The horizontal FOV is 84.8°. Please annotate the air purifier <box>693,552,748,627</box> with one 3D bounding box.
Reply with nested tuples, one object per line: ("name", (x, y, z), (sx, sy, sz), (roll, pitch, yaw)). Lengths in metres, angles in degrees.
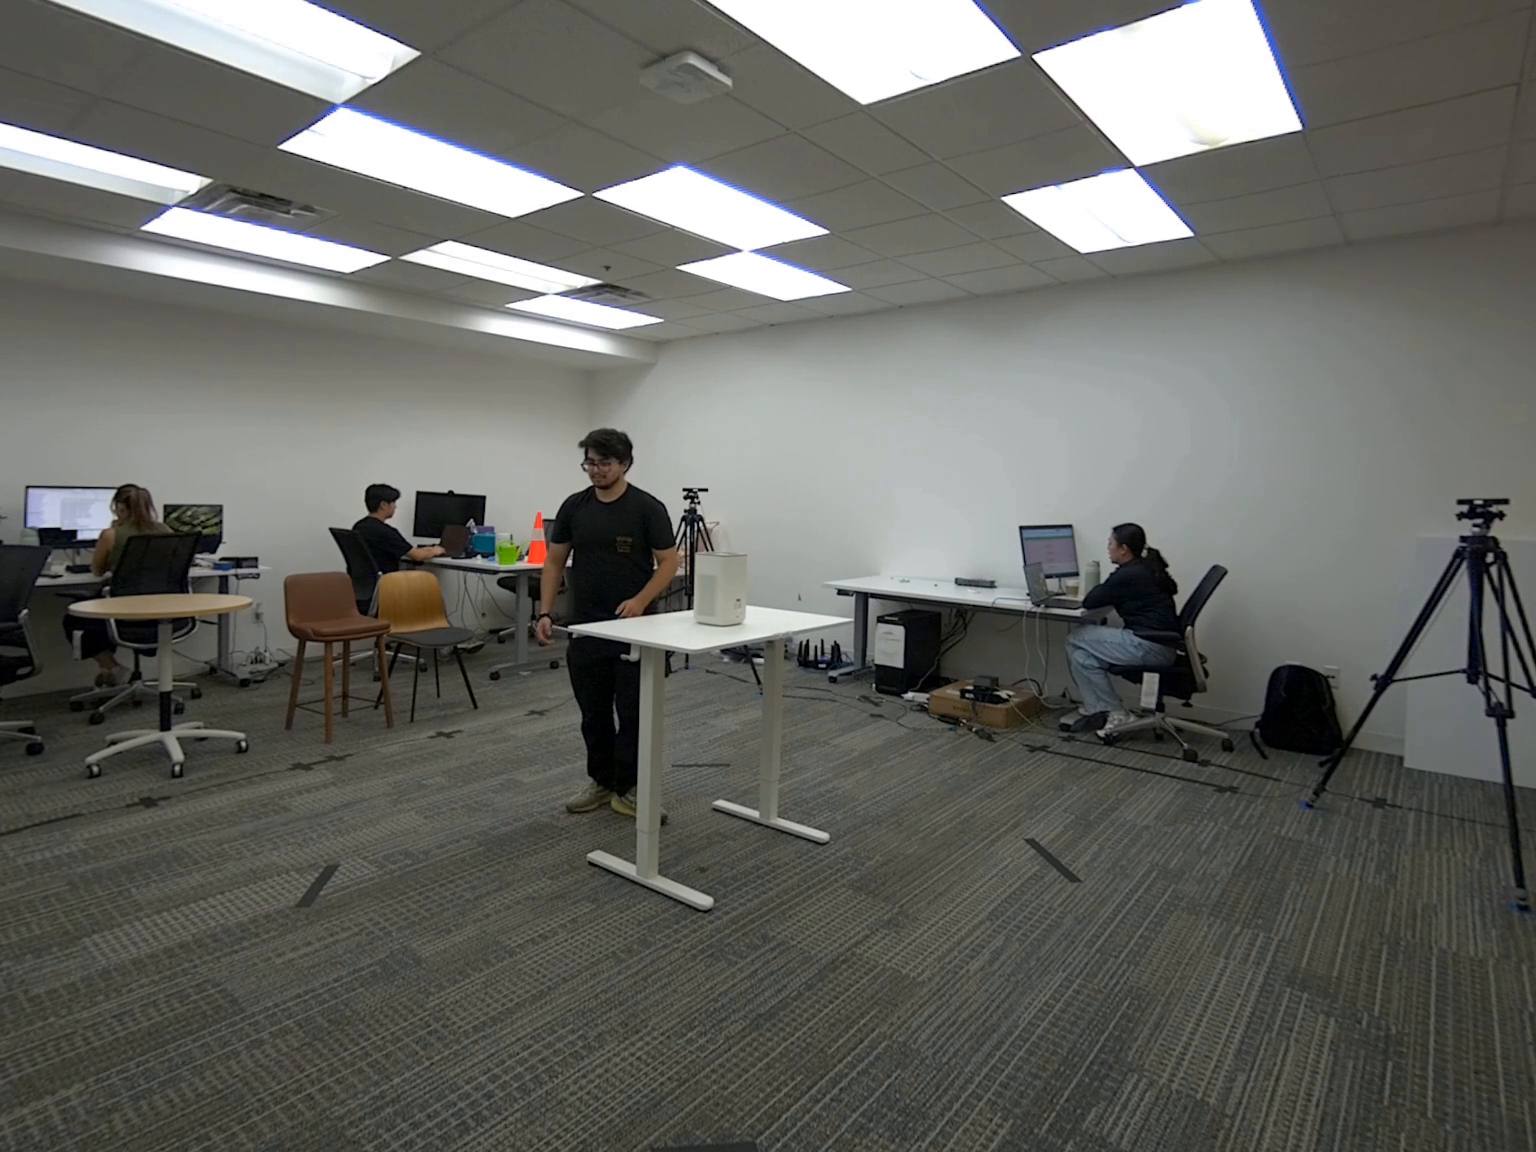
("air purifier", (-0.191, 0.046, 3.215), (0.177, 0.264, 0.166), (5, 5, 38))
